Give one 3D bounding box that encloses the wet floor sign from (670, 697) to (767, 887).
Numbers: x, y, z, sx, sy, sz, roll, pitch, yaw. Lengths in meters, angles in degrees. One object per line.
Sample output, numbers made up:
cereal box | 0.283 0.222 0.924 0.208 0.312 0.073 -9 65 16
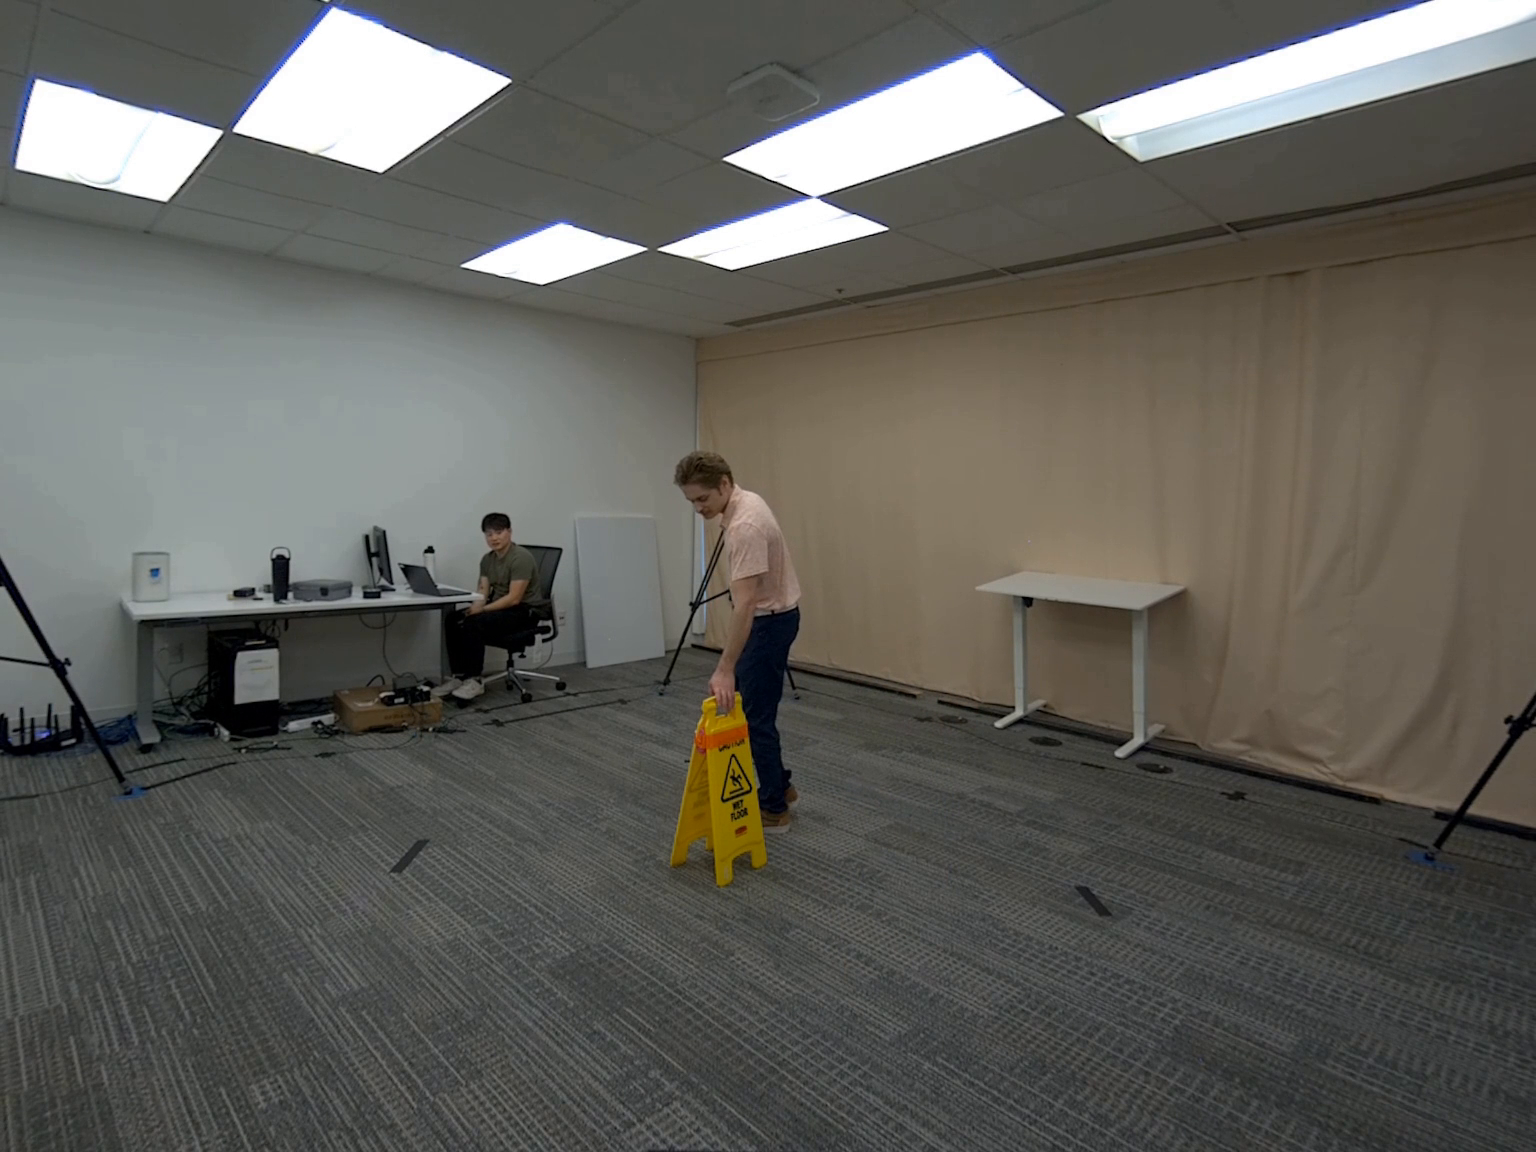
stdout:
wet floor sign | -0.184 0.772 3.164 0.297 0.644 0.276 4 5 39
